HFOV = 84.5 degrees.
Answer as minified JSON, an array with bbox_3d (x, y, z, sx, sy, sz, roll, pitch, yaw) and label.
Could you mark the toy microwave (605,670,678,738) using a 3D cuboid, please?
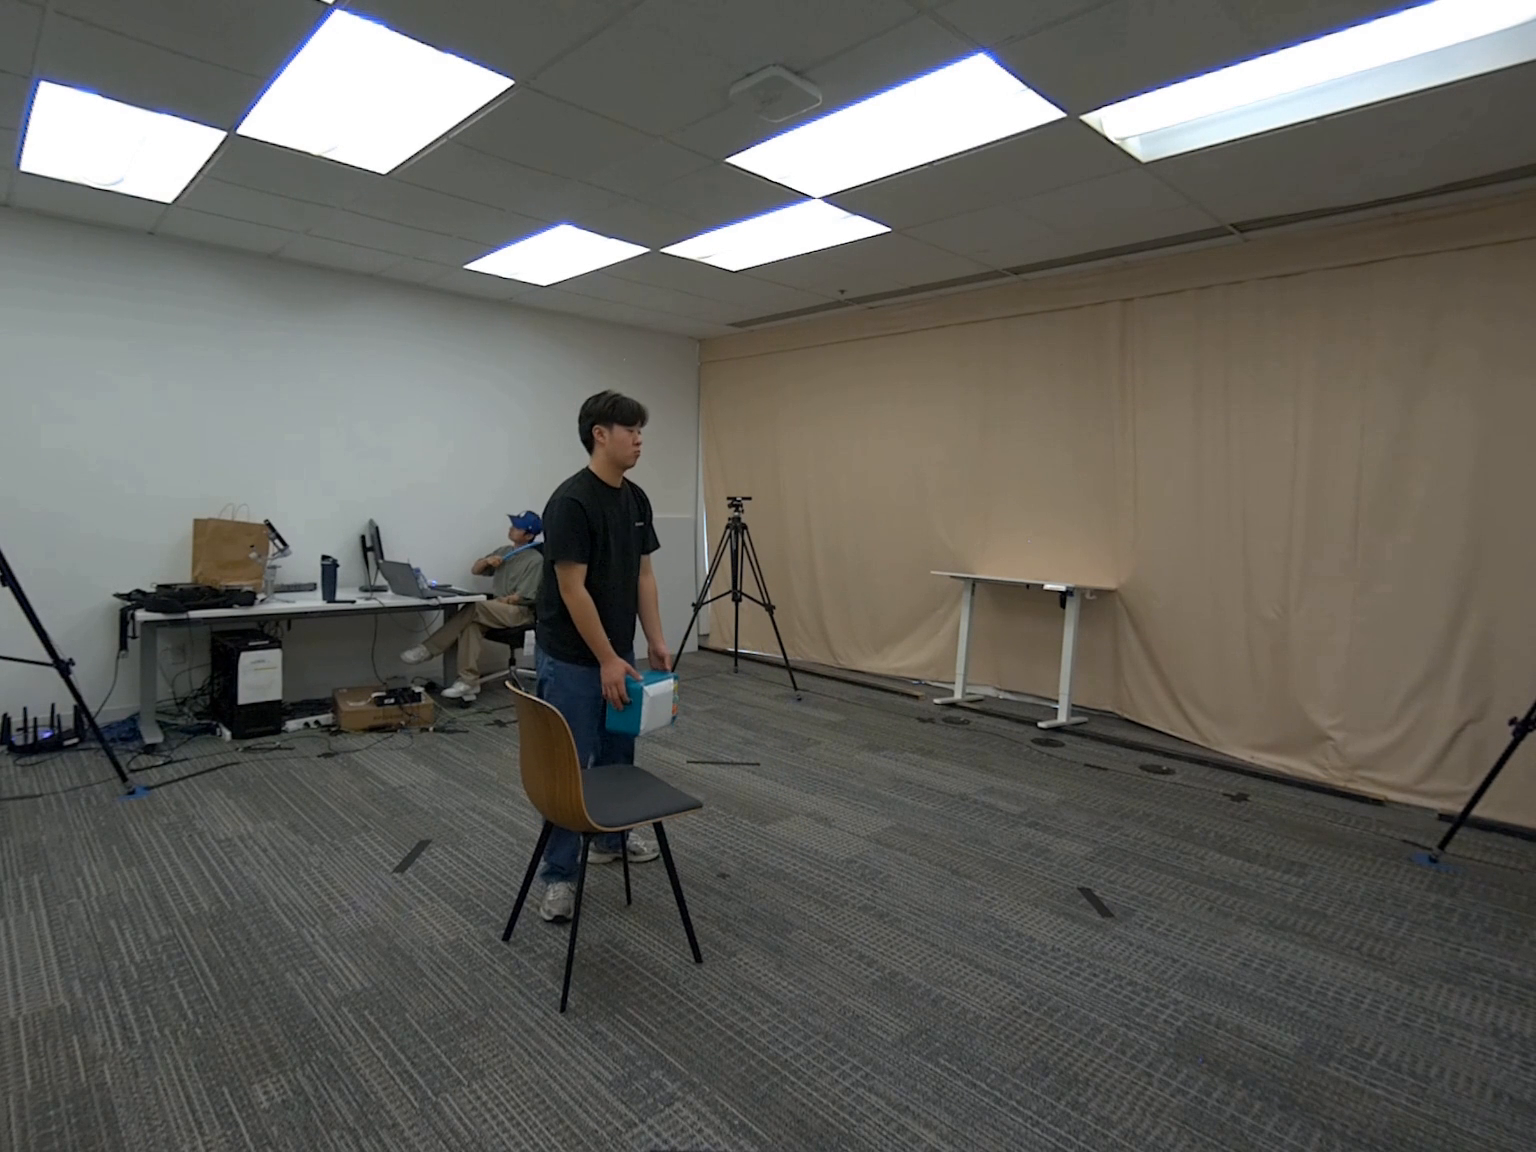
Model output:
[{"bbox_3d":[-0.420,0.436,2.863,0.155,0.184,0.281,4,3,23],"label":"toy microwave"}]
